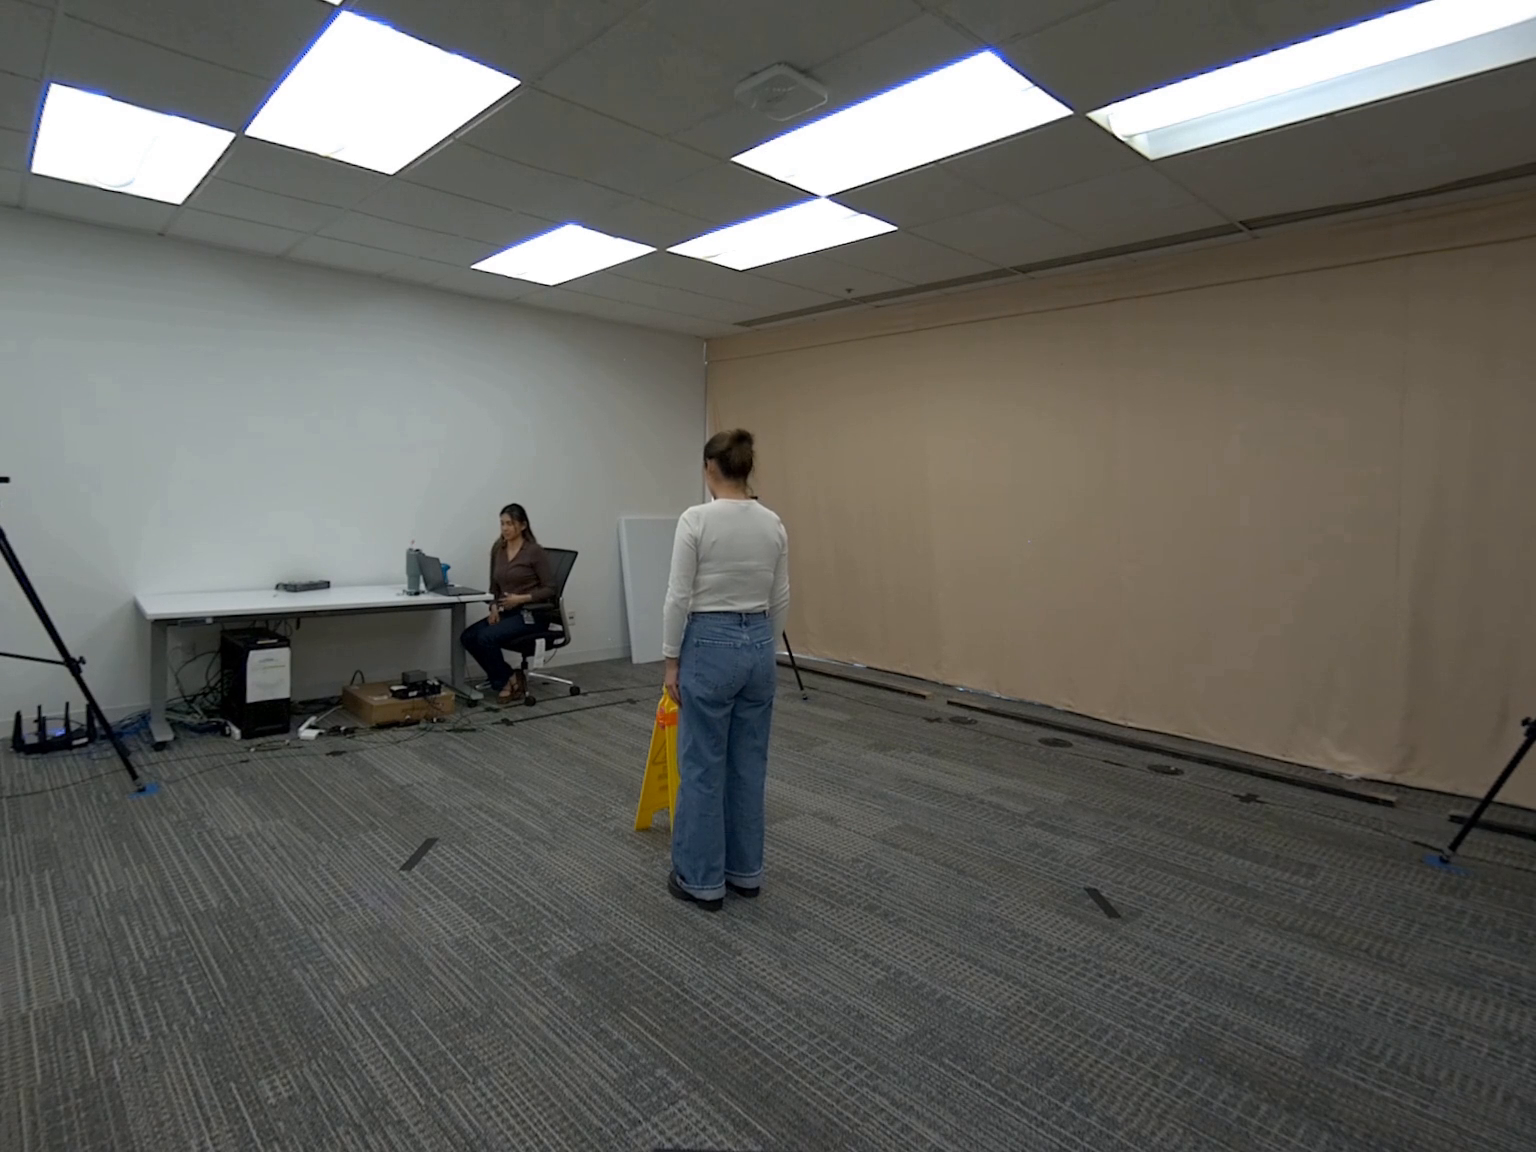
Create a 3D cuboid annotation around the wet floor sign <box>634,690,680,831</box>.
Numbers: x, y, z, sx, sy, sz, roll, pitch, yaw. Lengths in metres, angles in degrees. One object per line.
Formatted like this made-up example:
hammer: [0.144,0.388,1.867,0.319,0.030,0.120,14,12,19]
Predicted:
wet floor sign: [-0.351,0.745,3.455,0.276,0.644,0.297,-2,5,-41]
